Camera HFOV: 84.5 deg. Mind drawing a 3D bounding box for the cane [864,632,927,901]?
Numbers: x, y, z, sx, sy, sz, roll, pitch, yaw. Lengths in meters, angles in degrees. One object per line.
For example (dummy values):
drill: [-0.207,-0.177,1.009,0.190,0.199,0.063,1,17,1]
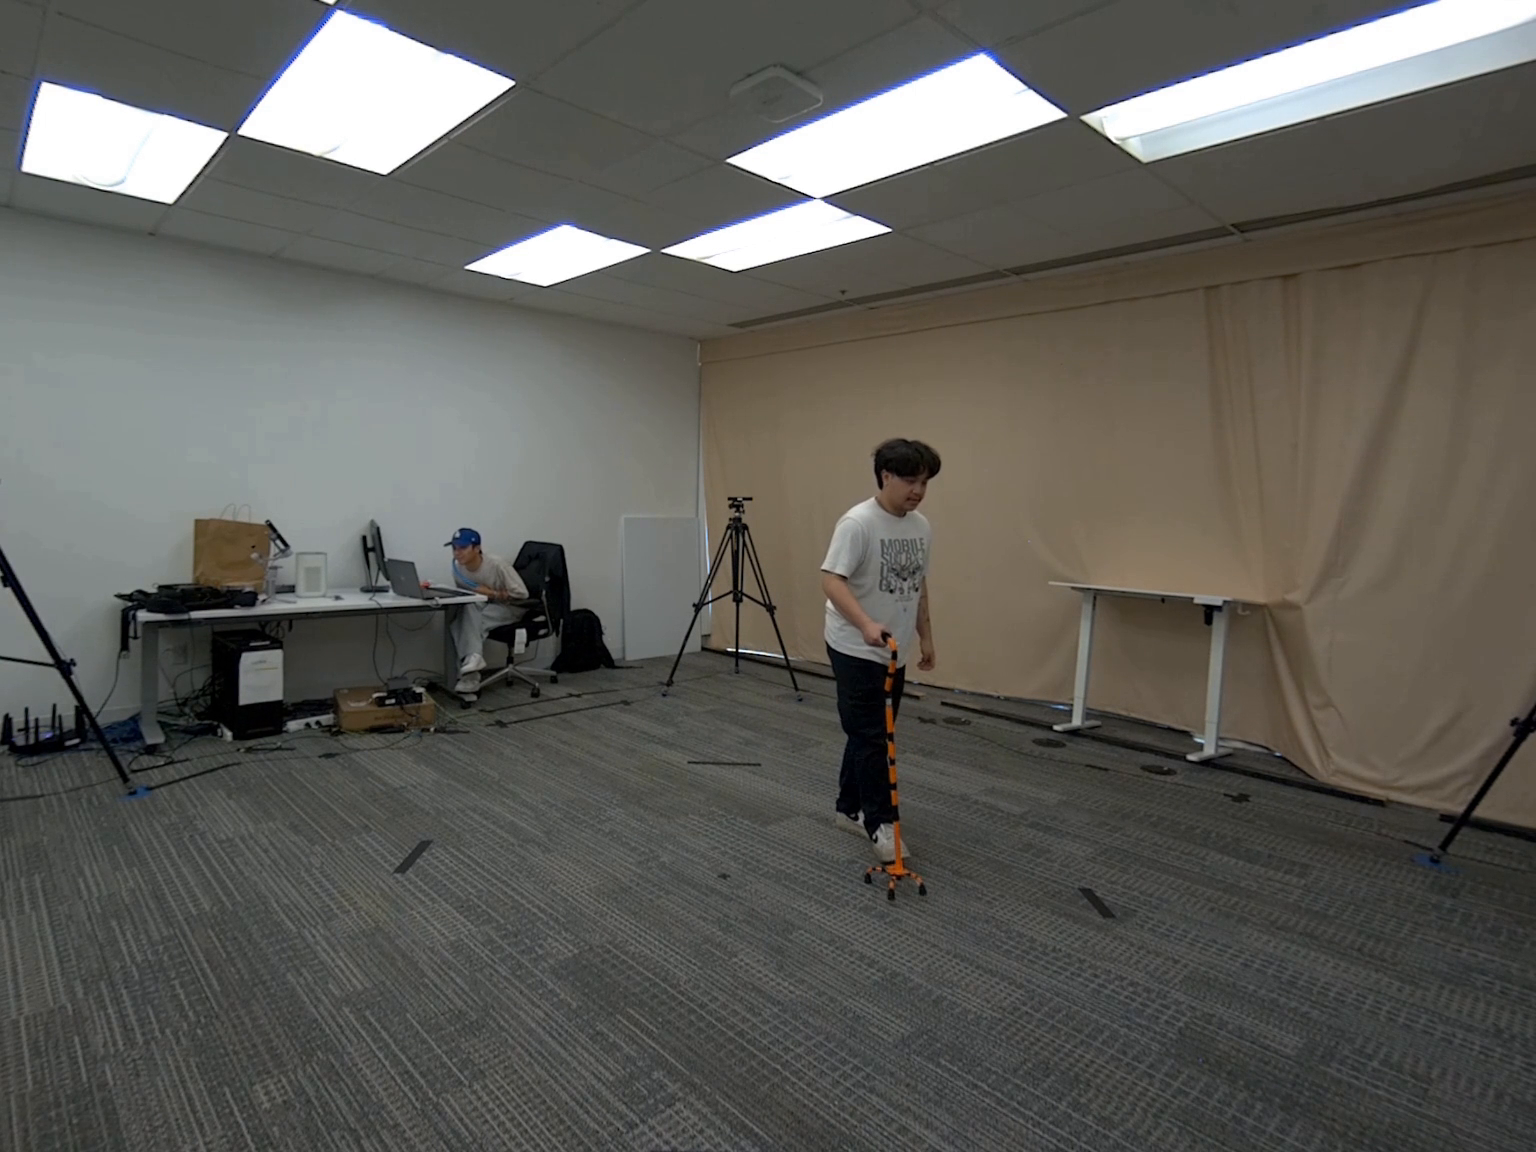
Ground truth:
cane: [0.432,0.666,3.033,0.149,0.909,0.209,-1,-2,-22]
